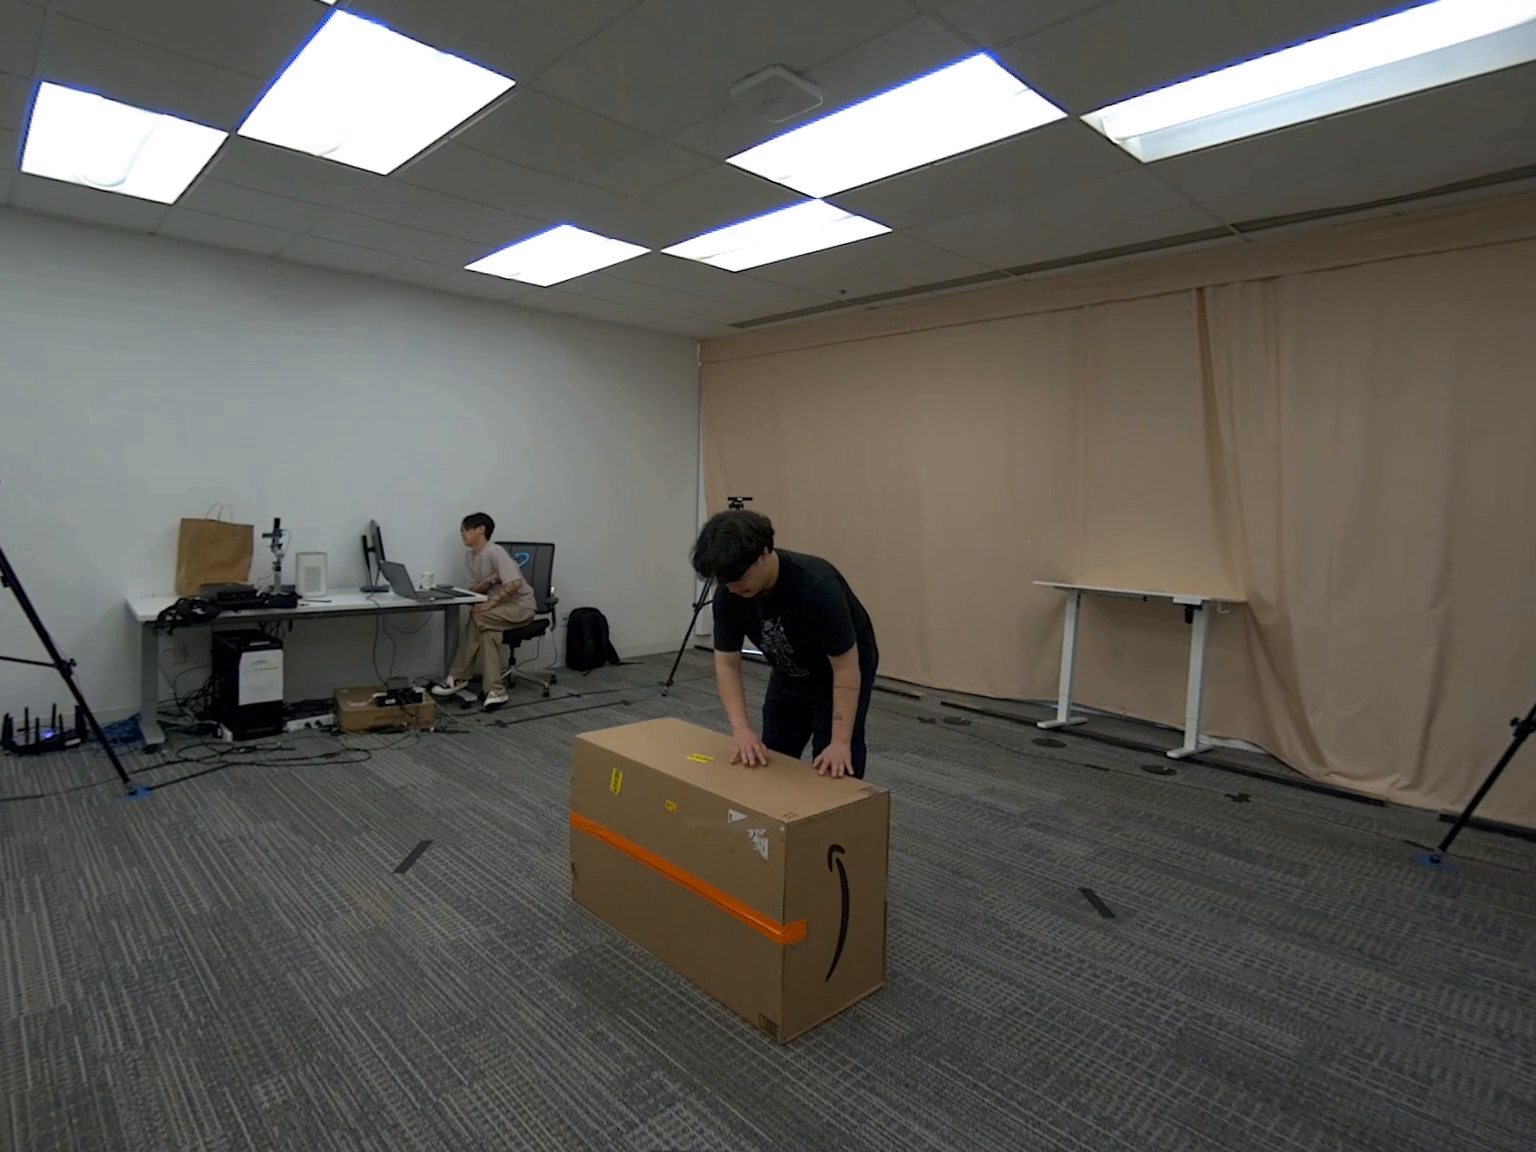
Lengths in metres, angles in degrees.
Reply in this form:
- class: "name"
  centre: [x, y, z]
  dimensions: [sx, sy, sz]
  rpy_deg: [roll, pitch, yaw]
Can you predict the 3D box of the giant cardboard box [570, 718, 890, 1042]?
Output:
- class: "giant cardboard box"
  centre: [-0.172, 0.865, 2.641]
  dimensions: [0.437, 0.582, 1.053]
  rpy_deg: [-3, 6, -43]
